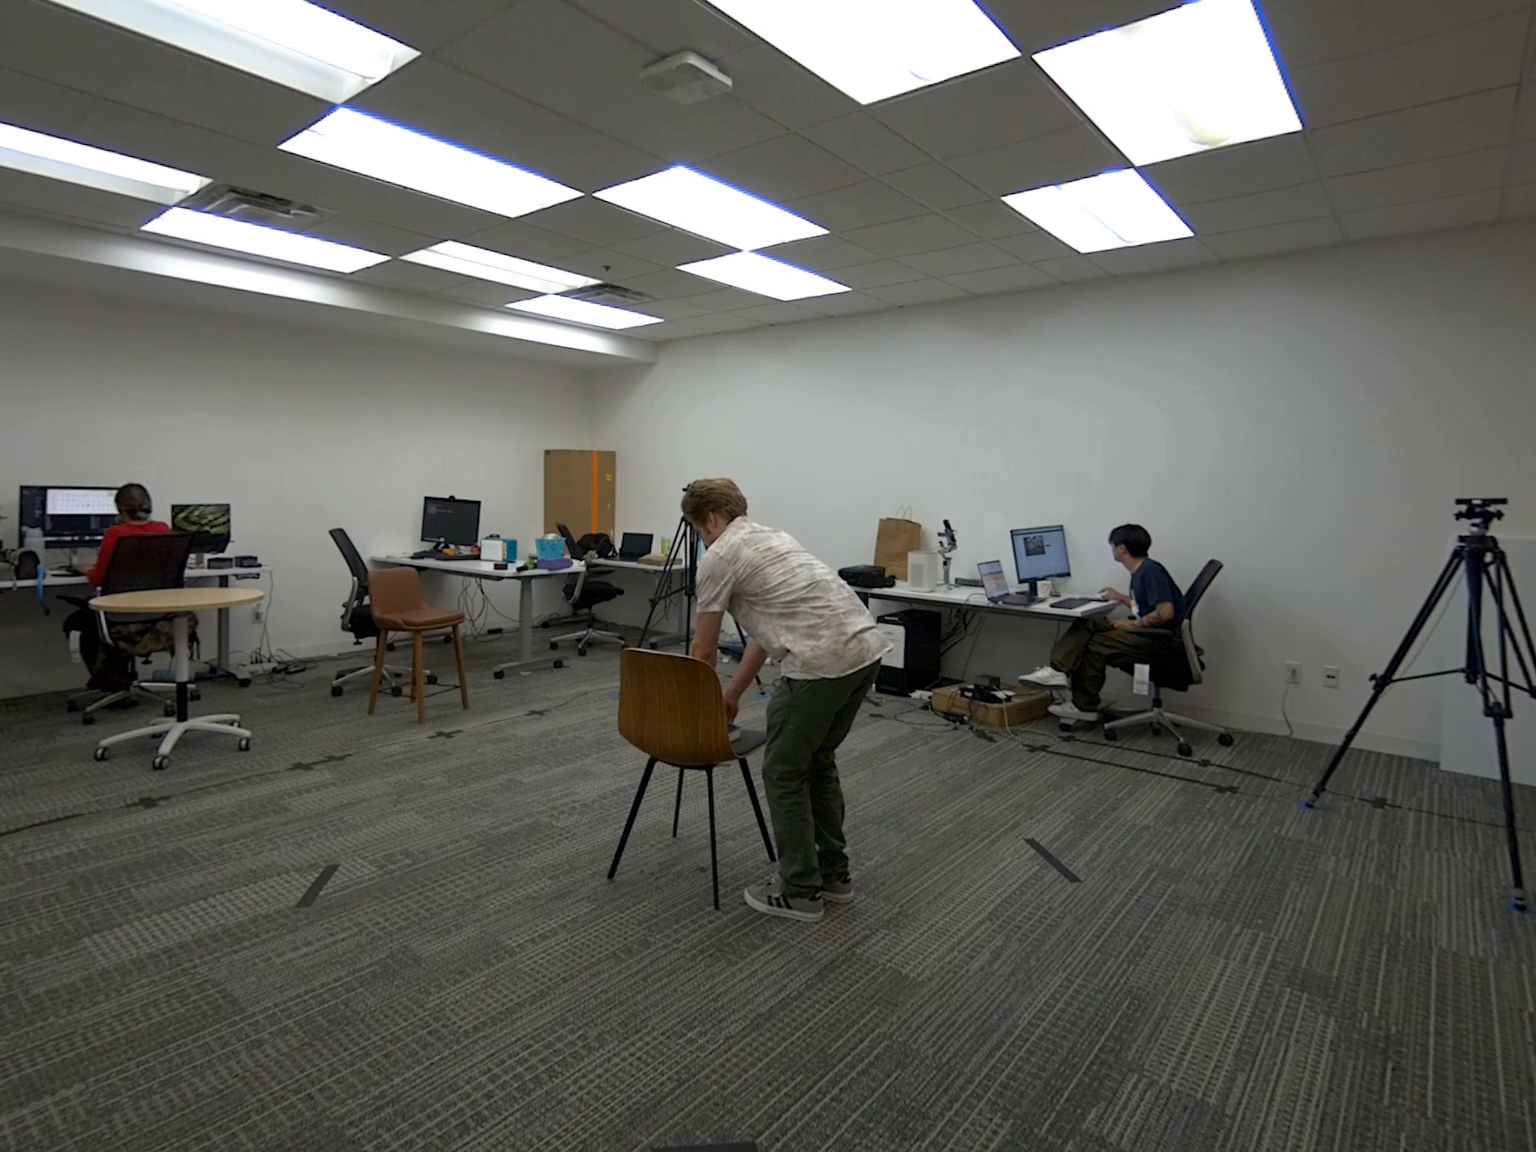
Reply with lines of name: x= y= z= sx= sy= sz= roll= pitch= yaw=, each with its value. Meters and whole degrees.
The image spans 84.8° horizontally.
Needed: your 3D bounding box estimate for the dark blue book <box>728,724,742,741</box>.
dark blue book: x=-0.259 y=0.570 z=3.108 sx=0.253 sy=0.045 sz=0.159 roll=7 pitch=10 yaw=37
